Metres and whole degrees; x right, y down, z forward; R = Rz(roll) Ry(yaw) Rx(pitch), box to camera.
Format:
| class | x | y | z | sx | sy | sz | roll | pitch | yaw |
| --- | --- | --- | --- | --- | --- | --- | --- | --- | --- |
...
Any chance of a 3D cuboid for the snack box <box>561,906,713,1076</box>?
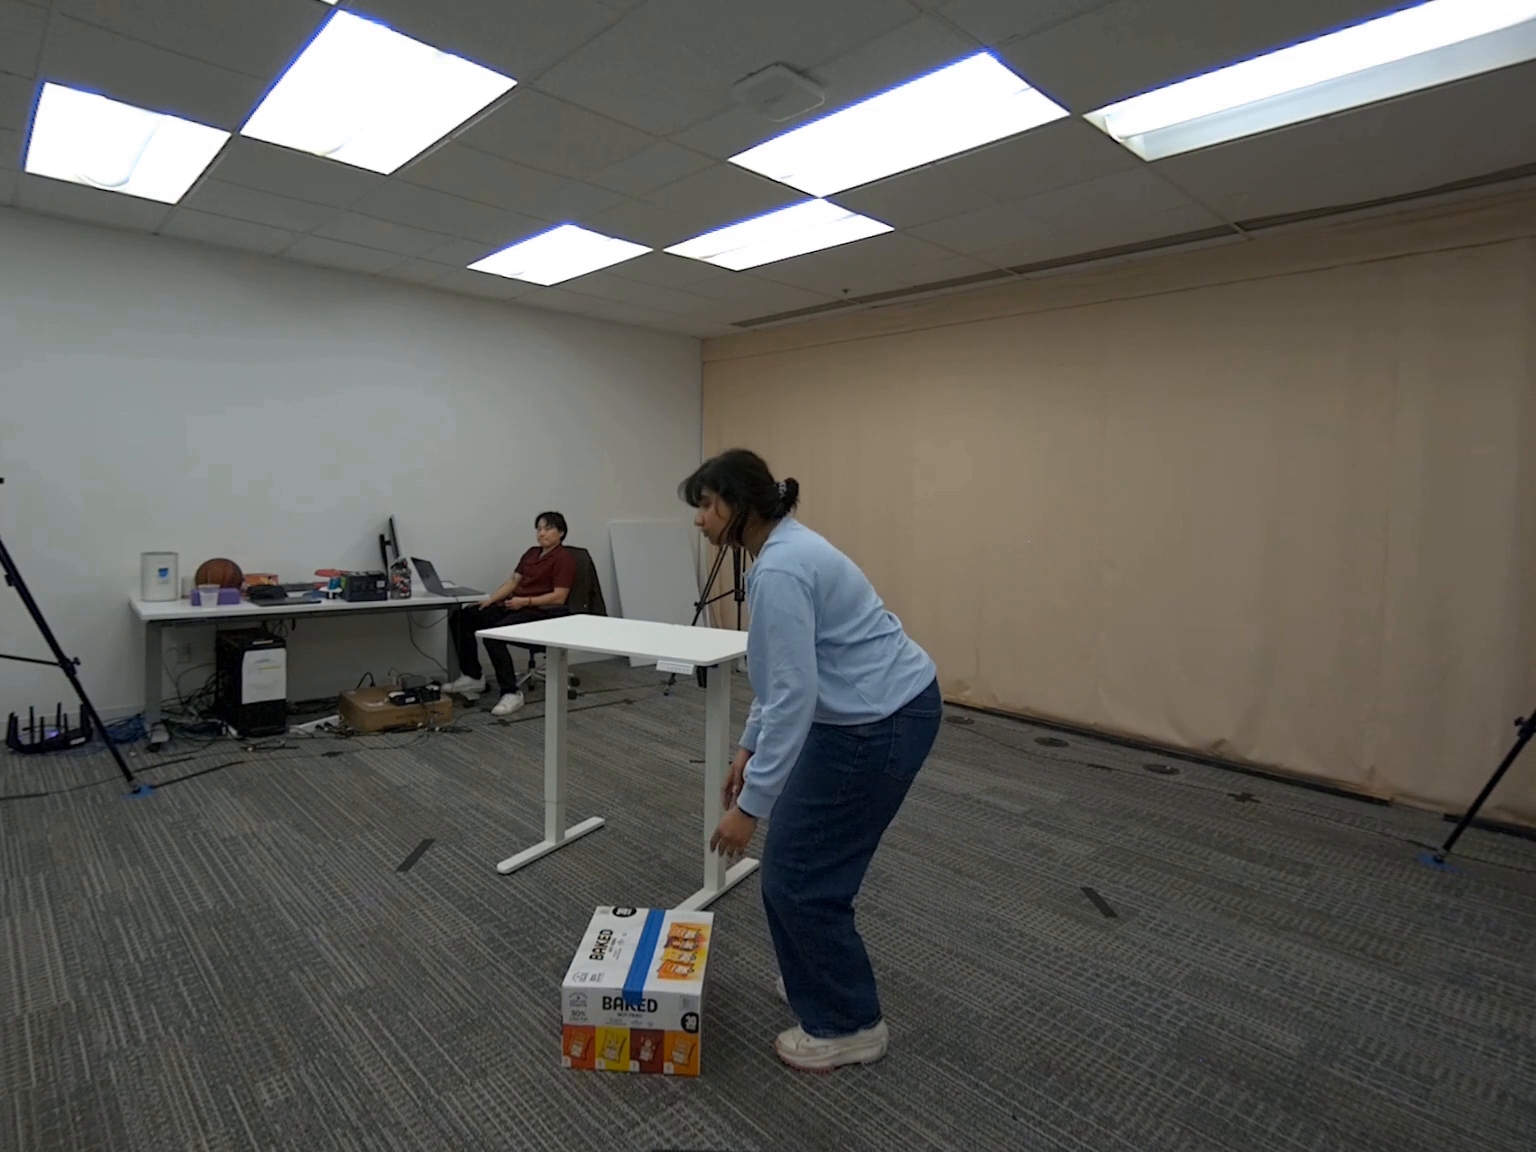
| class | x | y | z | sx | sy | sz | roll | pitch | yaw |
| --- | --- | --- | --- | --- | --- | --- | --- | --- | --- |
| snack box | -0.329 | 1.075 | 2.230 | 0.341 | 0.205 | 0.405 | 2 | 5 | 2 |
